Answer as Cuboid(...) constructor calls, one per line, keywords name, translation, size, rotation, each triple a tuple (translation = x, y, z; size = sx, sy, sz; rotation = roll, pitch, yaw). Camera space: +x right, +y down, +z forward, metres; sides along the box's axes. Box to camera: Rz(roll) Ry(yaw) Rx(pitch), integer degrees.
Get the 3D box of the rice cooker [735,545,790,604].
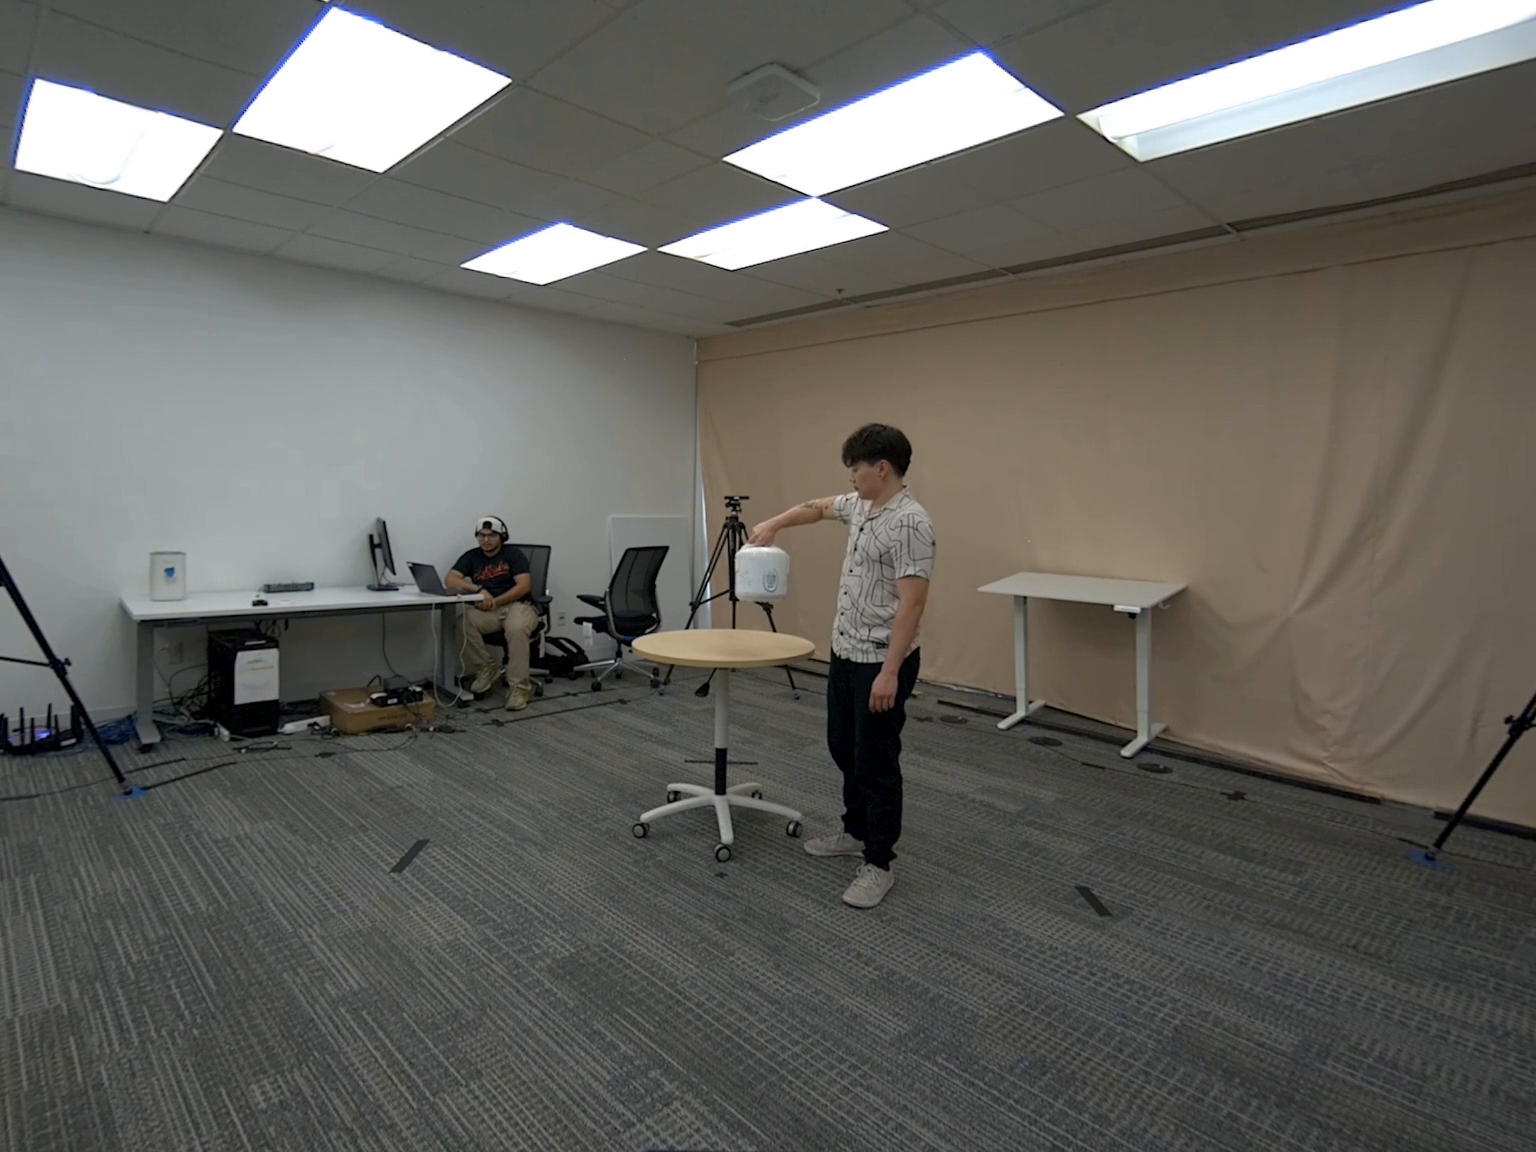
Cuboid(name="rice cooker", translation=(-0.030, -0.011, 3.319), size=(0.217, 0.233, 0.220), rotation=(2, -4, -17))
